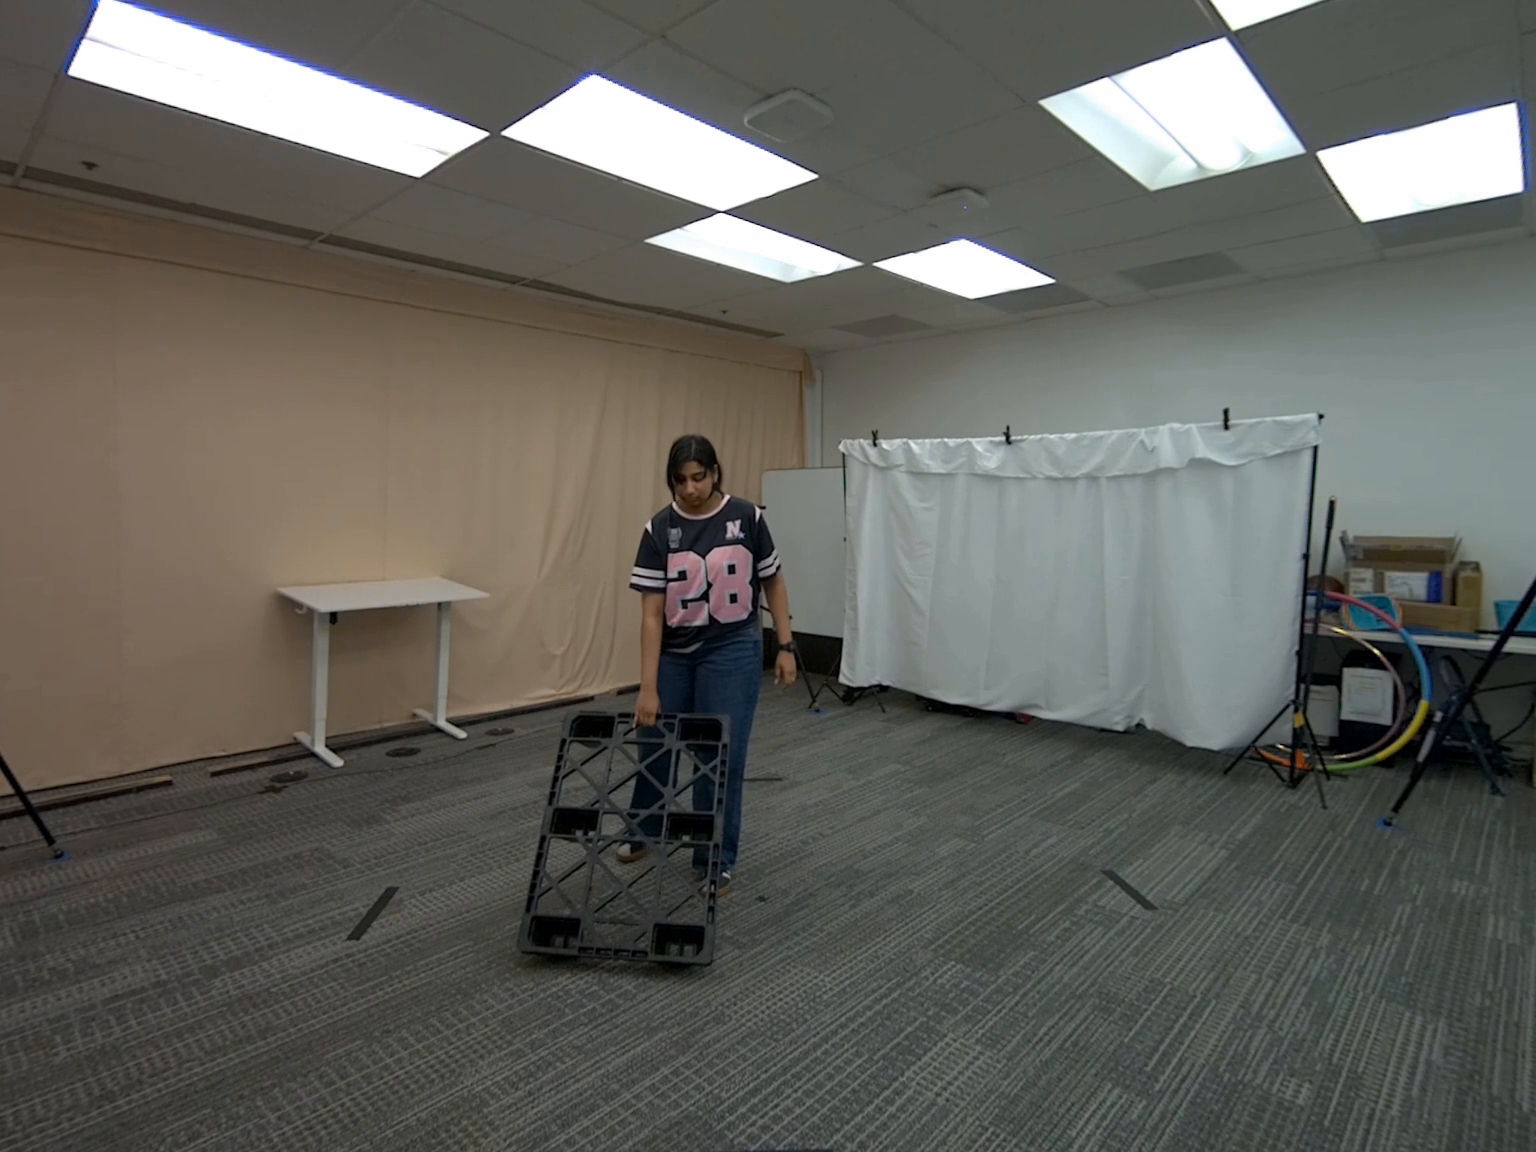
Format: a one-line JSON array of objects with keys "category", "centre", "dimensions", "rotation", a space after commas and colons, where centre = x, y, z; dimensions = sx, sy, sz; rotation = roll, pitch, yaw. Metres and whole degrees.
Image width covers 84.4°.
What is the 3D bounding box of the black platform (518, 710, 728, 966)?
[{"category": "black platform", "centre": [-0.450, 0.846, 2.775], "dimensions": [0.610, 0.818, 0.140], "rotation": [-2, -36, 7]}]
